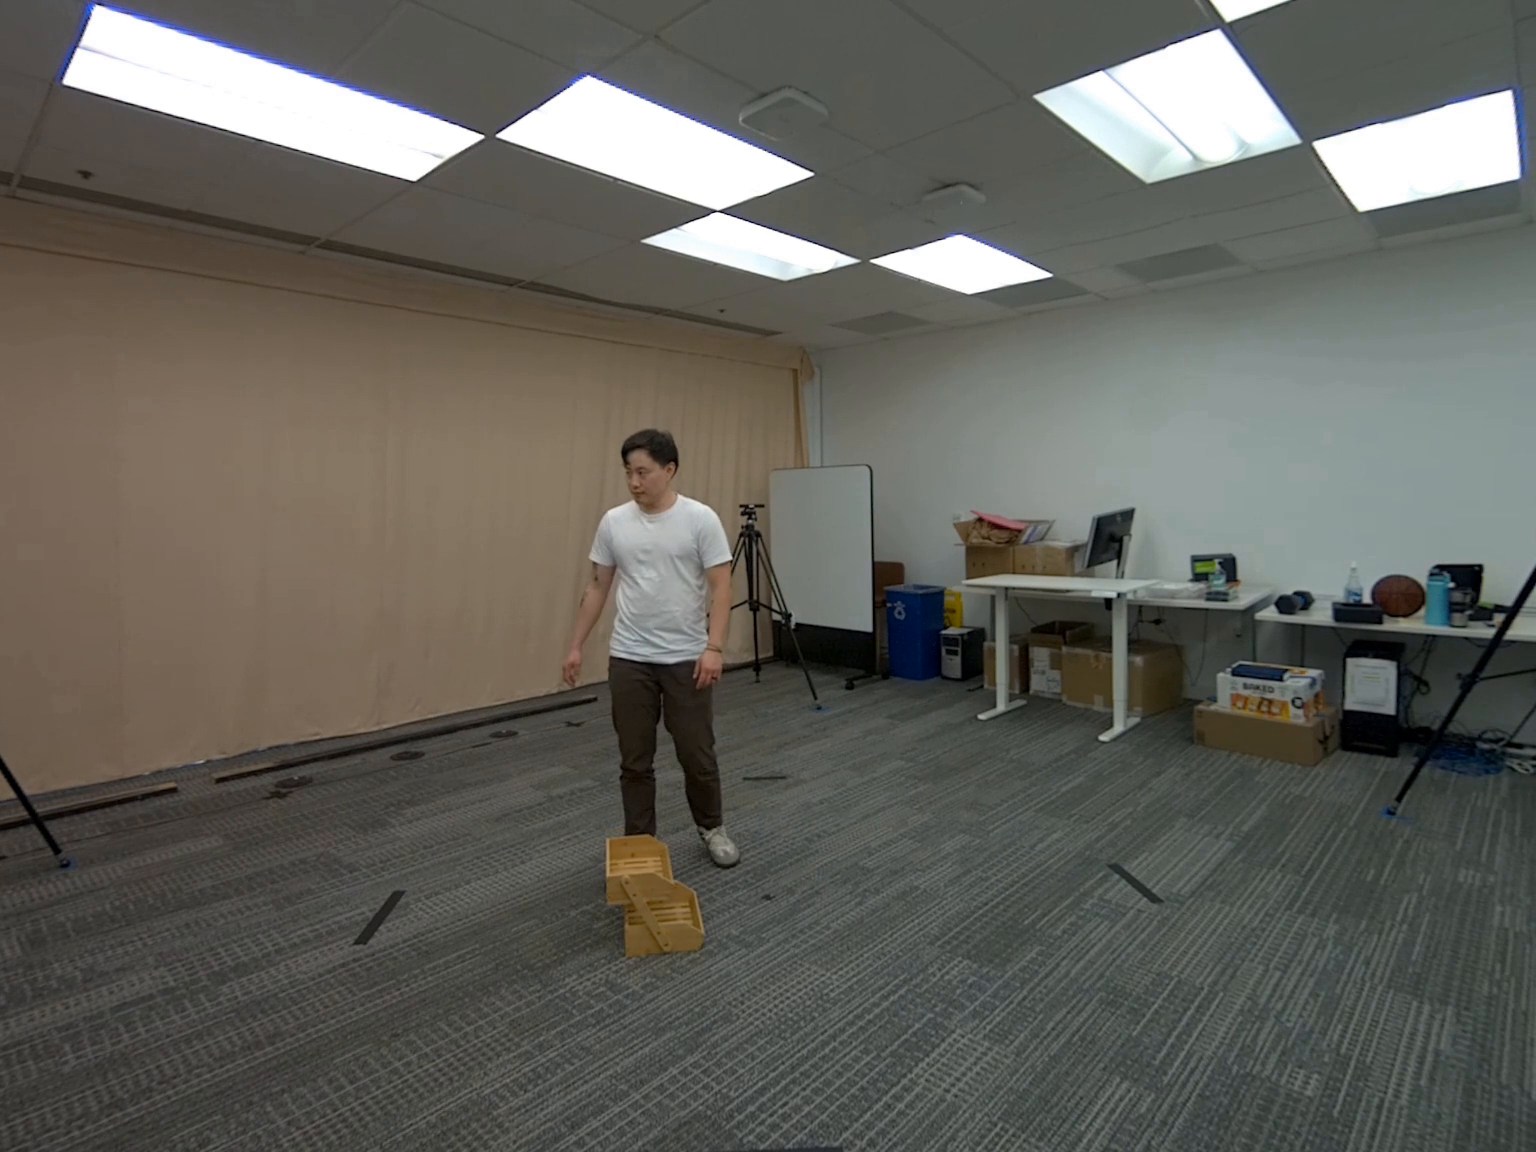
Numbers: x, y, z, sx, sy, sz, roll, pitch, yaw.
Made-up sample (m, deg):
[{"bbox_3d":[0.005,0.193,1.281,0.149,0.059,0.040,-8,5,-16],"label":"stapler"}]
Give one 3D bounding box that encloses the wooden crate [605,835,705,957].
[{"bbox_3d":[-0.373,1.028,2.778,0.300,0.273,0.327,-1,4,-7],"label":"wooden crate"}]
